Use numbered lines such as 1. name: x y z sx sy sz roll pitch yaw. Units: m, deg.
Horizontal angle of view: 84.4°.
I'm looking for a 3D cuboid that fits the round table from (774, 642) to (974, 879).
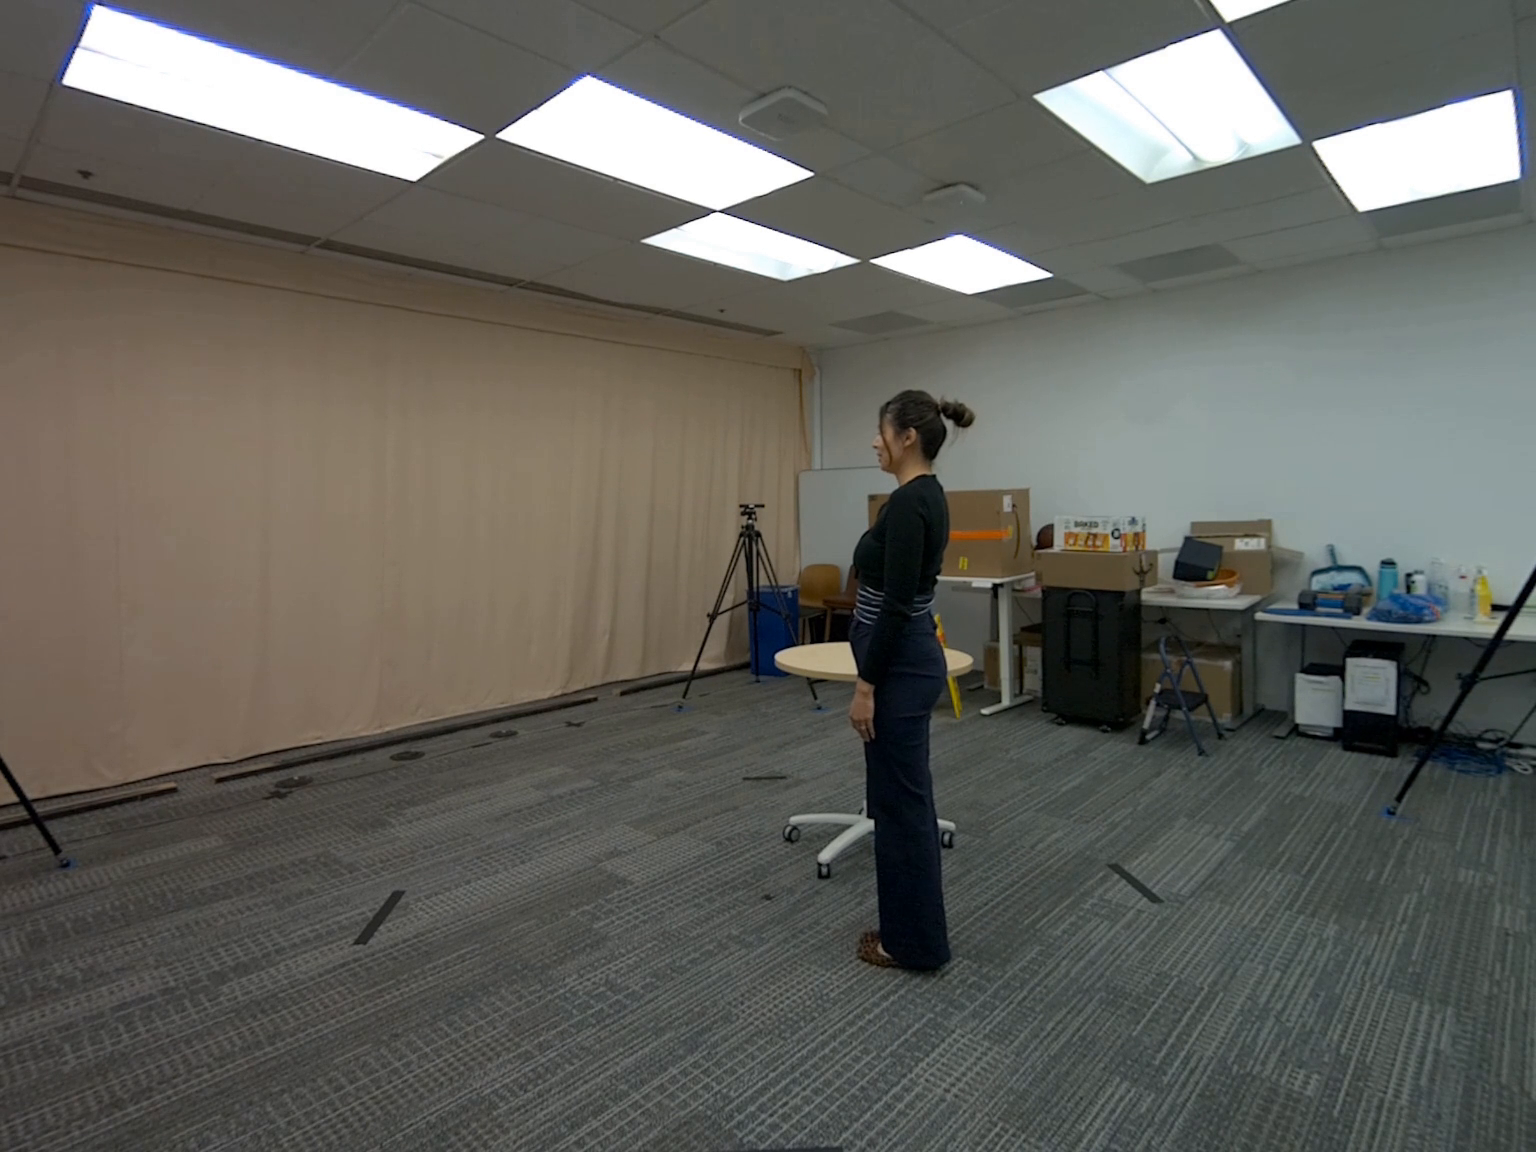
1. round table: 0.412 0.713 3.344 0.763 0.792 0.766 -1 3 -2
